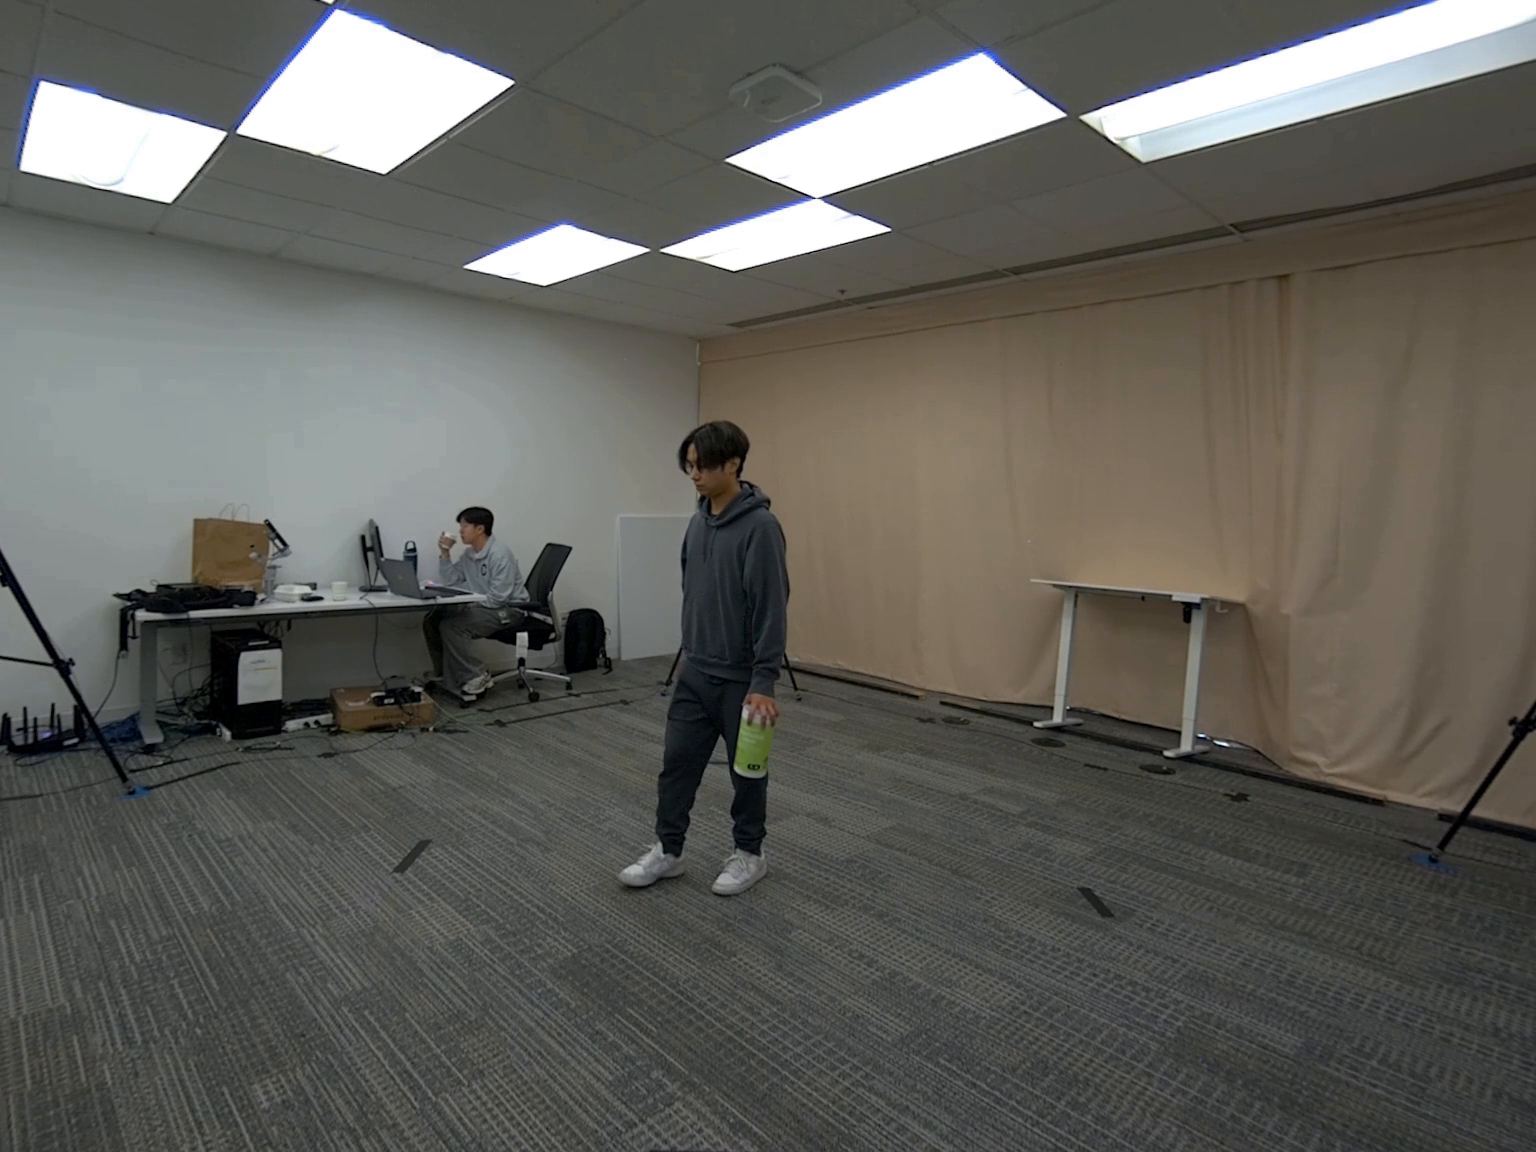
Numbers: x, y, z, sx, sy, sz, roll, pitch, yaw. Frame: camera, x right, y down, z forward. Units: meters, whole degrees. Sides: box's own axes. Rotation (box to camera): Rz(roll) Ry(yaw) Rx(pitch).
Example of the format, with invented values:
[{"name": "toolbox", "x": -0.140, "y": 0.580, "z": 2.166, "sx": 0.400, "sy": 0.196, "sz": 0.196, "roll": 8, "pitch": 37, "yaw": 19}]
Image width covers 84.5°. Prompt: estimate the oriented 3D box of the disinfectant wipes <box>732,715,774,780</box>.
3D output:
[{"name": "disinfectant wipes", "x": -0.058, "y": 0.539, "z": 2.737, "sx": 0.117, "sy": 0.216, "sz": 0.119, "roll": 5, "pitch": 10, "yaw": -2}]
